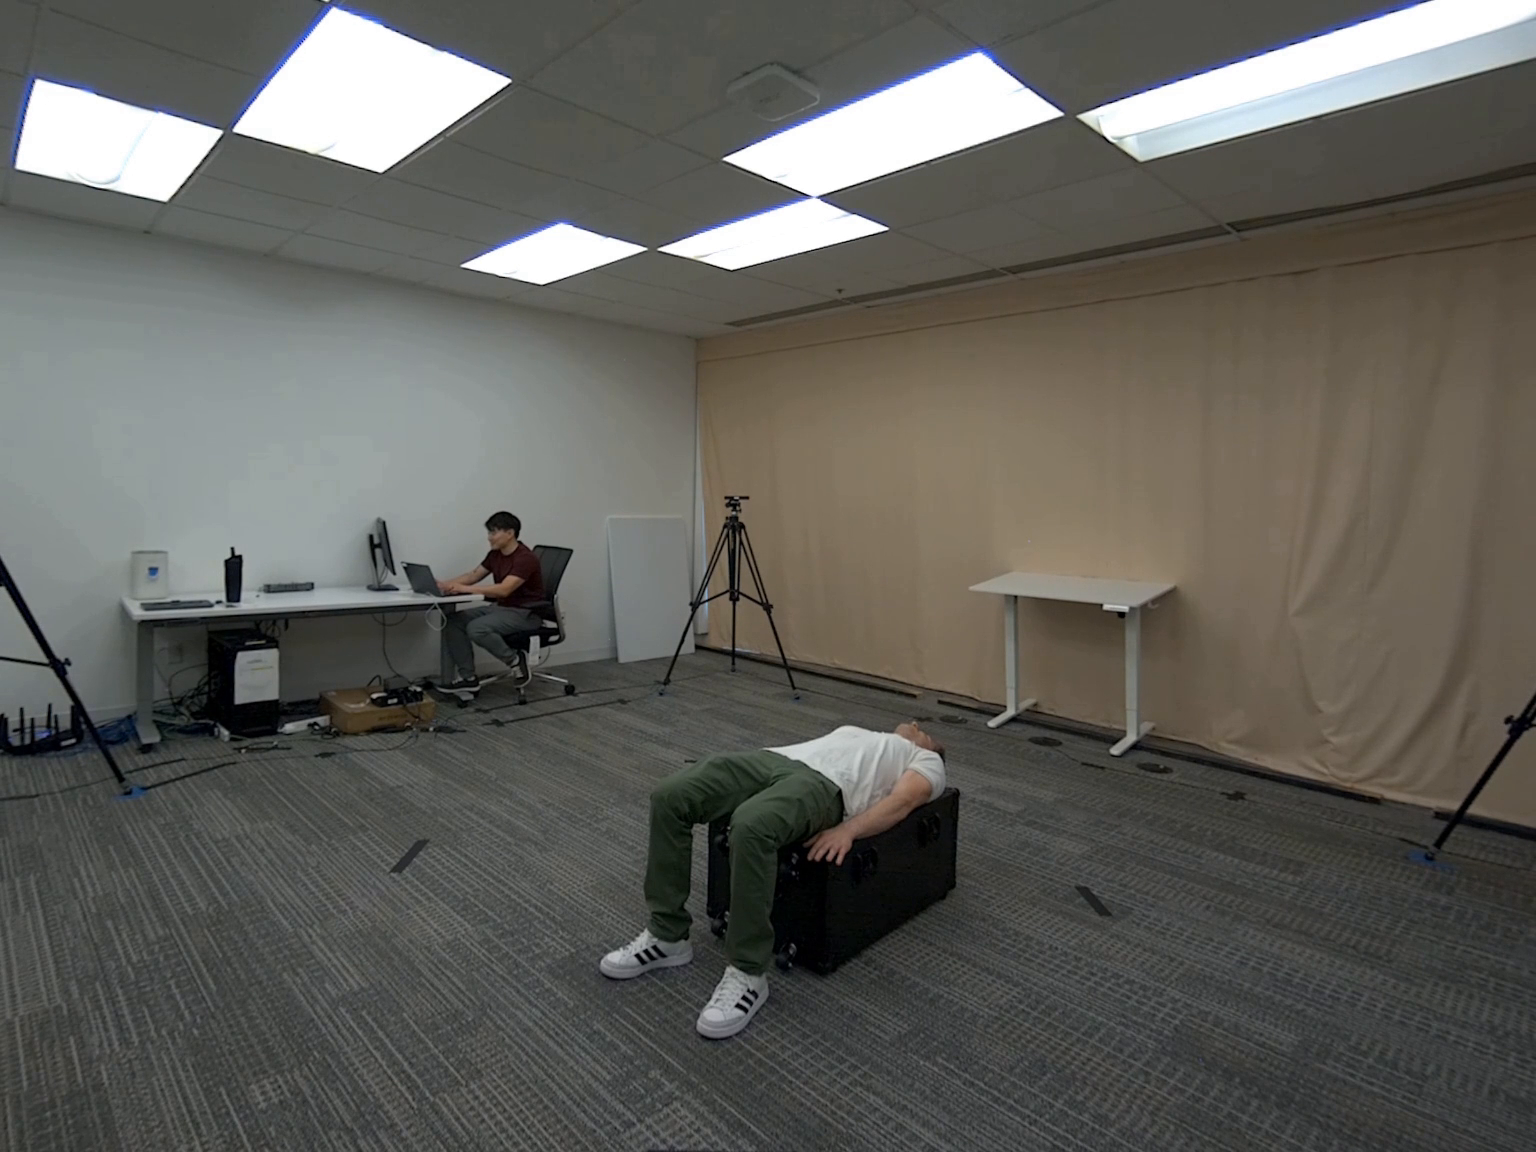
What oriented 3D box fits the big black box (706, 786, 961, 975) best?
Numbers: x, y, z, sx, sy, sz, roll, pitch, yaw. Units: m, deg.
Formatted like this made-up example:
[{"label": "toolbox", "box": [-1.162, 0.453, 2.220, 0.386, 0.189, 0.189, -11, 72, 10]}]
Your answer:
[{"label": "big black box", "box": [0.205, 0.949, 2.842, 0.537, 0.384, 0.849, 6, 8, 42]}]
